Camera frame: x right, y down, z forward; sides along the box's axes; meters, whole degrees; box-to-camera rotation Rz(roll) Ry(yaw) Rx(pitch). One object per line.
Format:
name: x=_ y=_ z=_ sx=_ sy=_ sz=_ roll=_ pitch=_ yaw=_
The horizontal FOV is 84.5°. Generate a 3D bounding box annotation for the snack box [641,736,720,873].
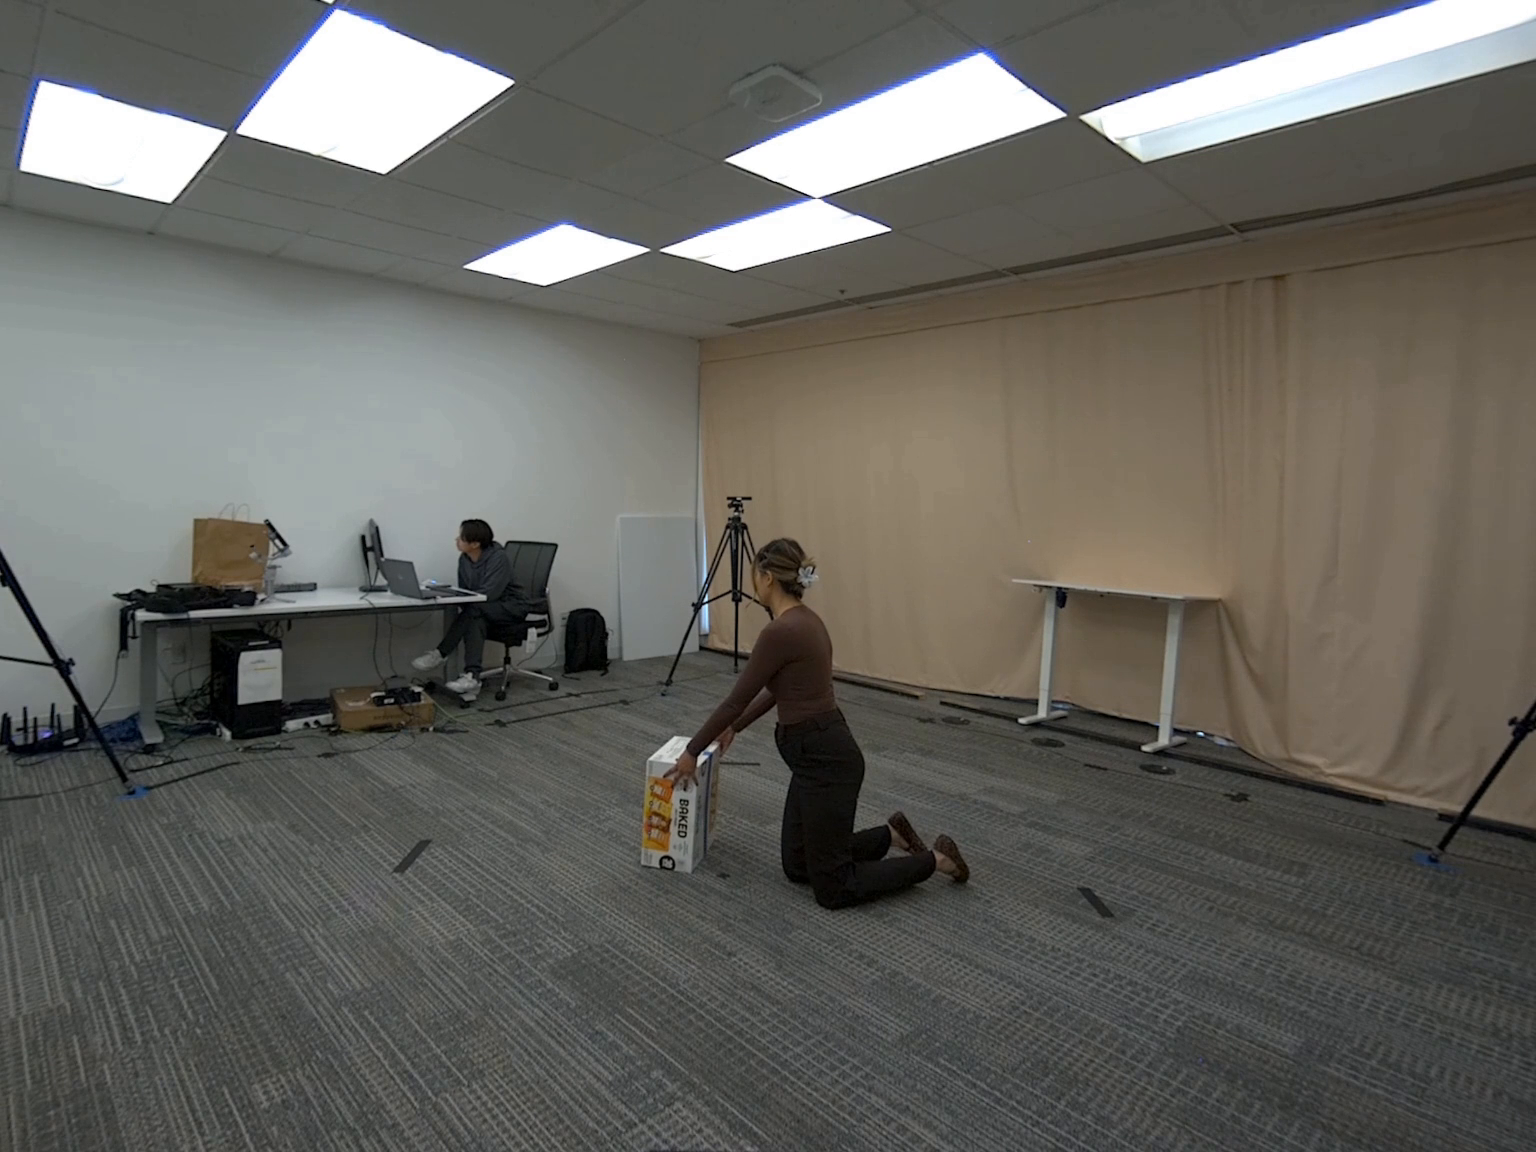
snack box: x=-0.341 y=0.879 z=3.291 sx=0.208 sy=0.404 sz=0.338 roll=5 pitch=5 yaw=11
